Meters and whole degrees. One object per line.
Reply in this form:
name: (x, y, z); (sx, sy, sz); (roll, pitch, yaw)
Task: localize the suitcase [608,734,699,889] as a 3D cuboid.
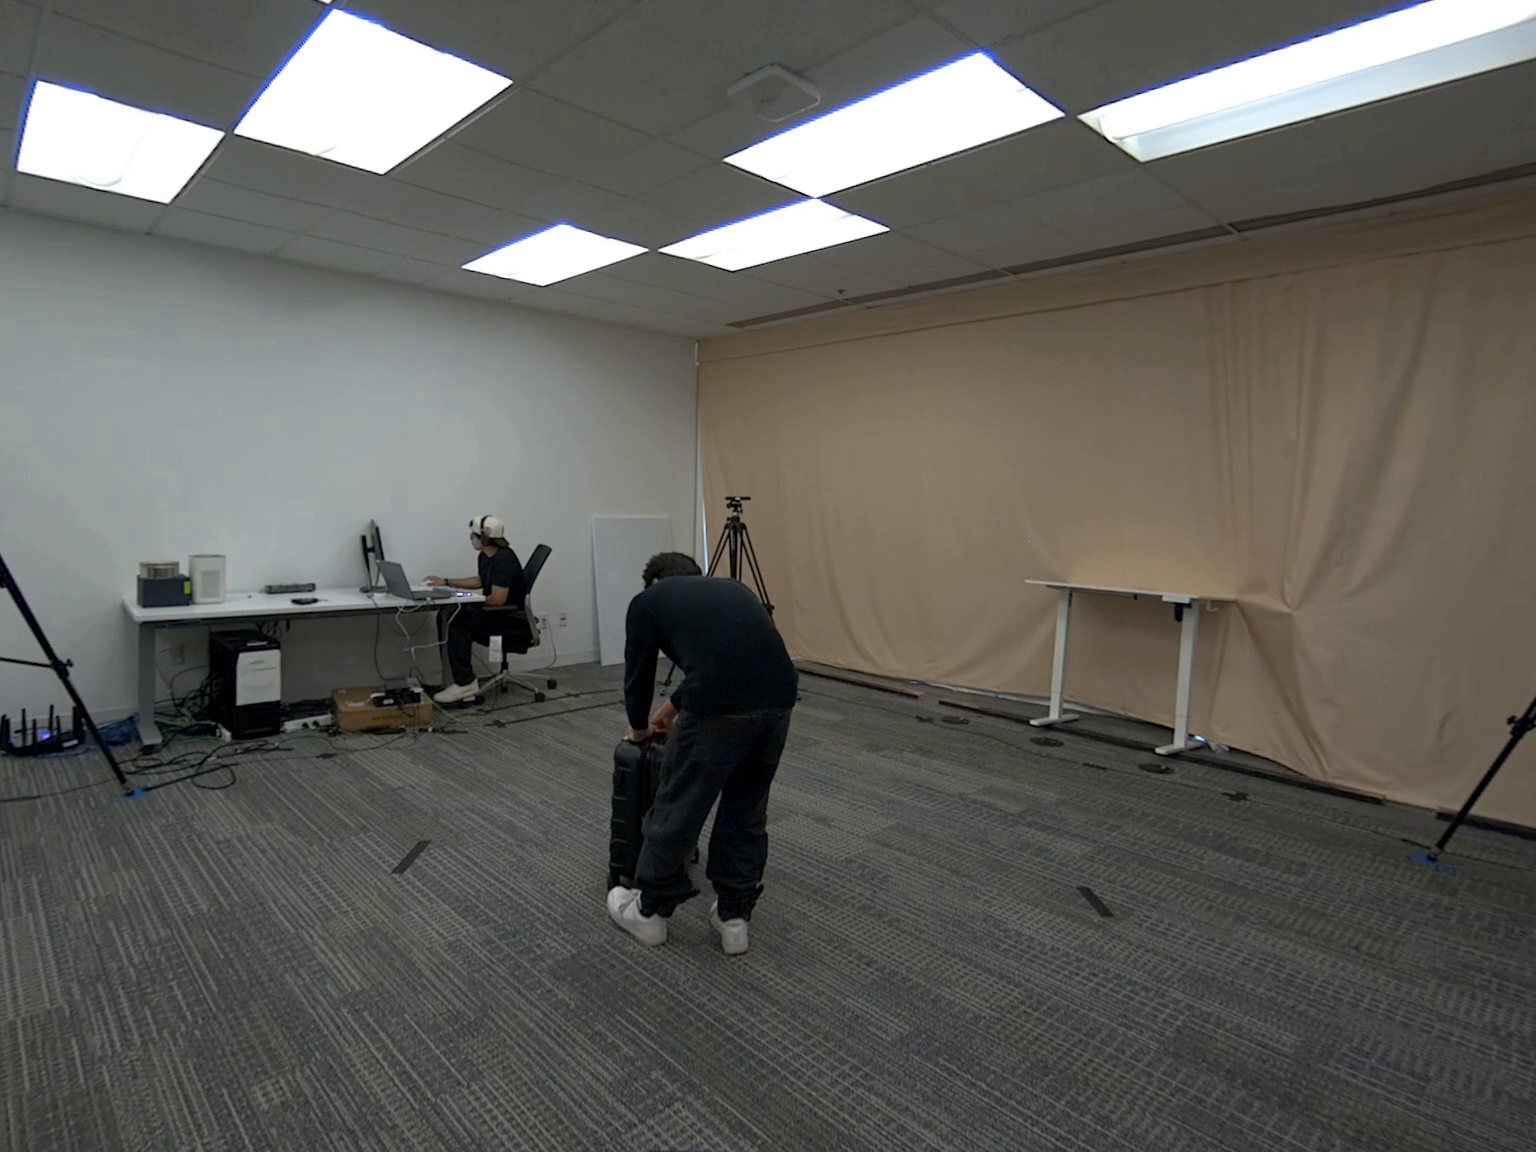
suitcase: (-0.421, 0.830, 3.077); (0.250, 0.548, 0.374); (2, 4, 8)
